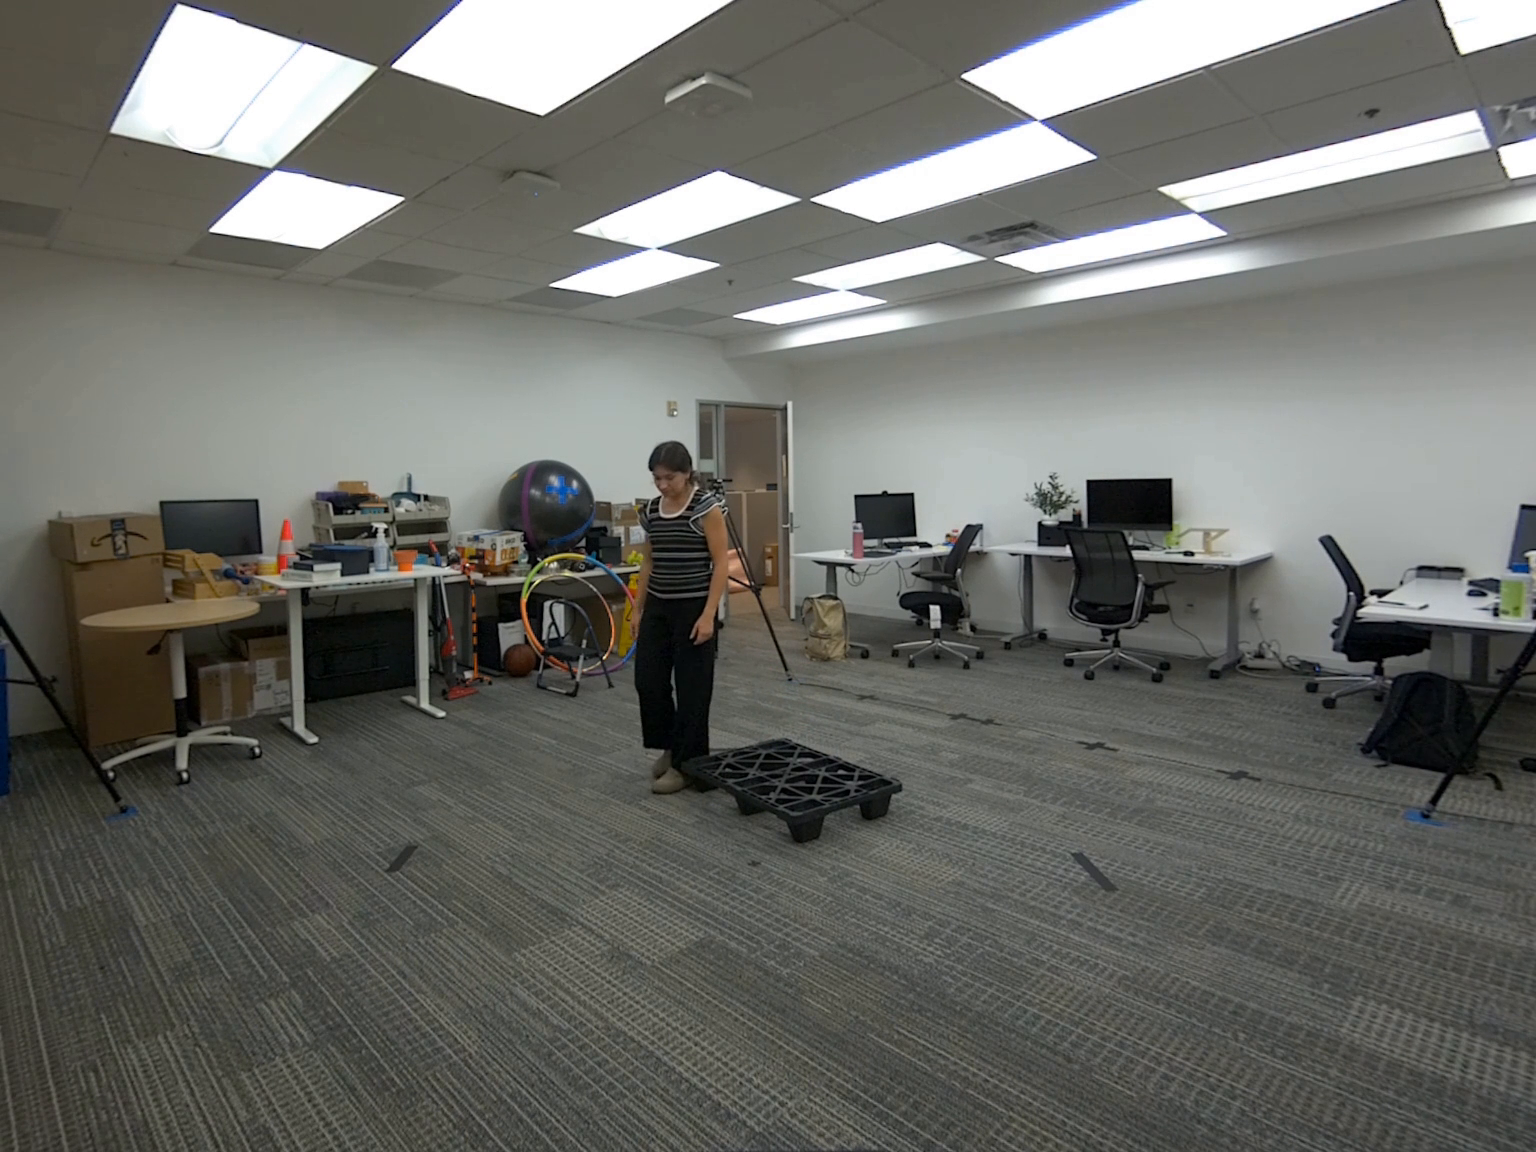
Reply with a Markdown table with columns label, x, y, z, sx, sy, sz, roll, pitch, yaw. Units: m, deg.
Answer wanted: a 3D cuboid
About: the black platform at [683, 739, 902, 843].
| label | x | y | z | sx | sy | sz | roll | pitch | yaw |
| --- | --- | --- | --- | --- | --- | --- | --- | --- | --- |
| black platform | 0.087 | 0.911 | 3.695 | 0.589 | 0.143 | 0.830 | -4 | 7 | -37 |
